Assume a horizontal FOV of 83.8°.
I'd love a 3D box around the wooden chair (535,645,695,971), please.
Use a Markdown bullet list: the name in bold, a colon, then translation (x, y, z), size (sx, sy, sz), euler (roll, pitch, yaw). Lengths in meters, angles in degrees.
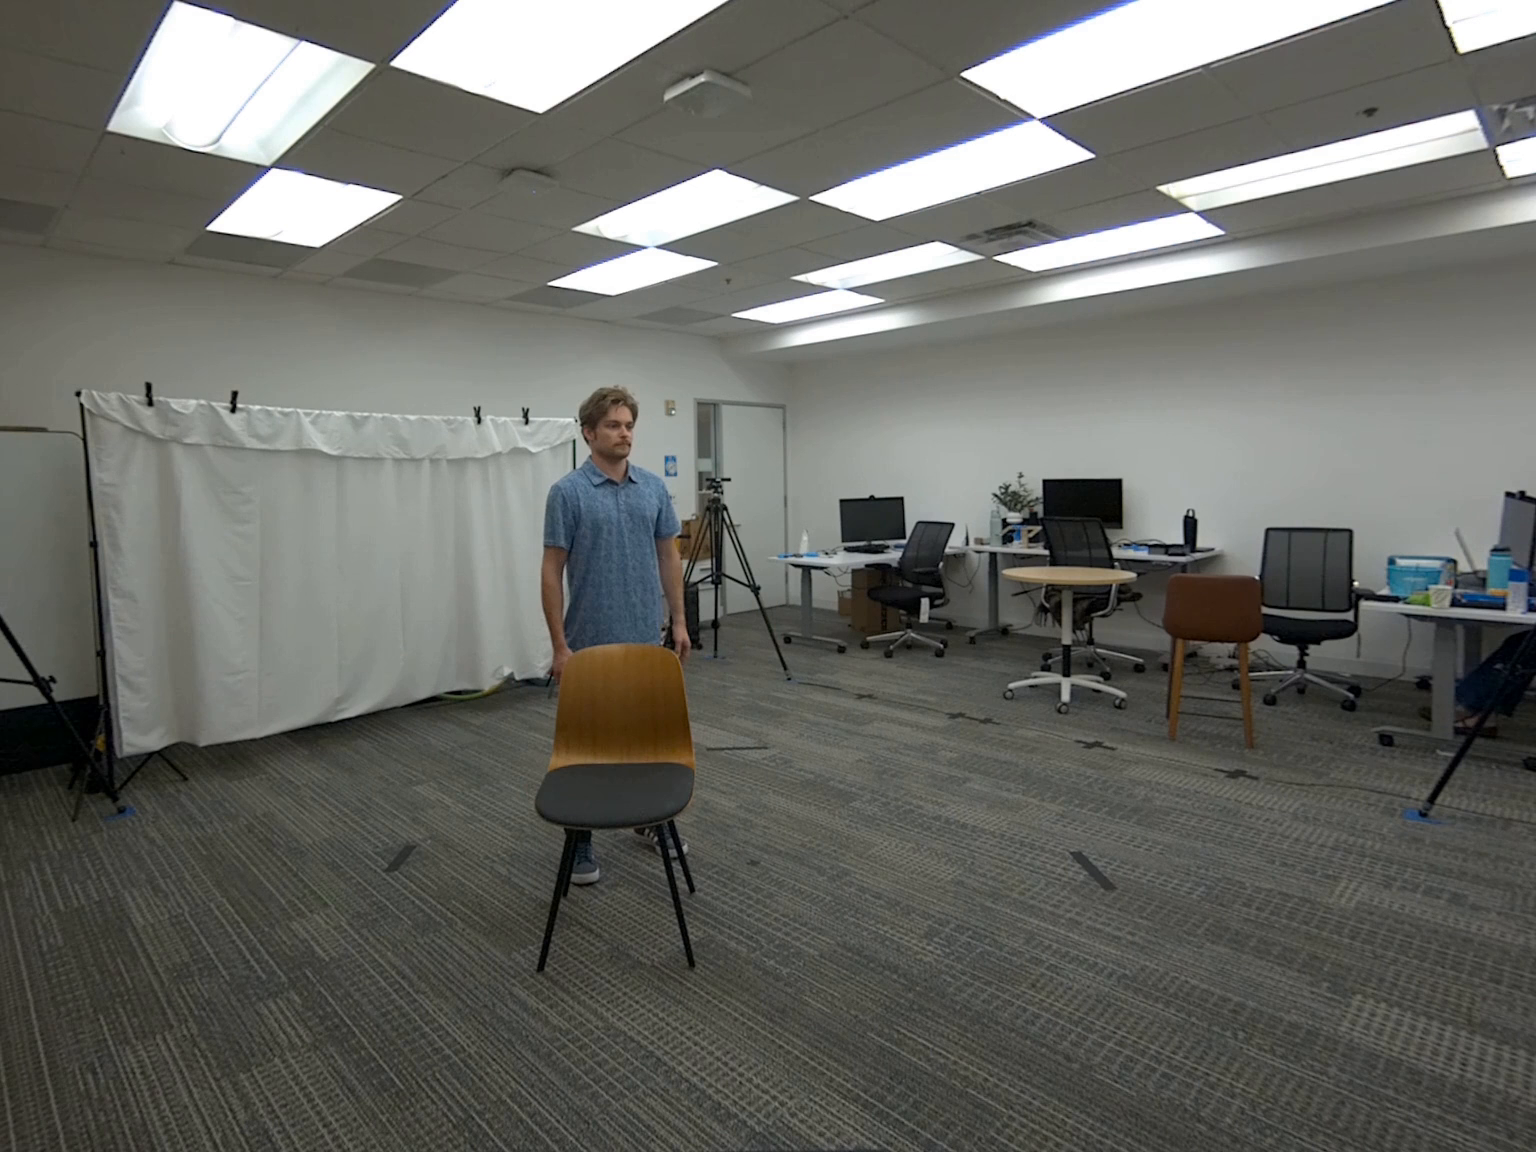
- **wooden chair**: translation (-0.453, 0.677, 2.623), size (0.477, 0.877, 0.524), euler (-1, 0, -3)
